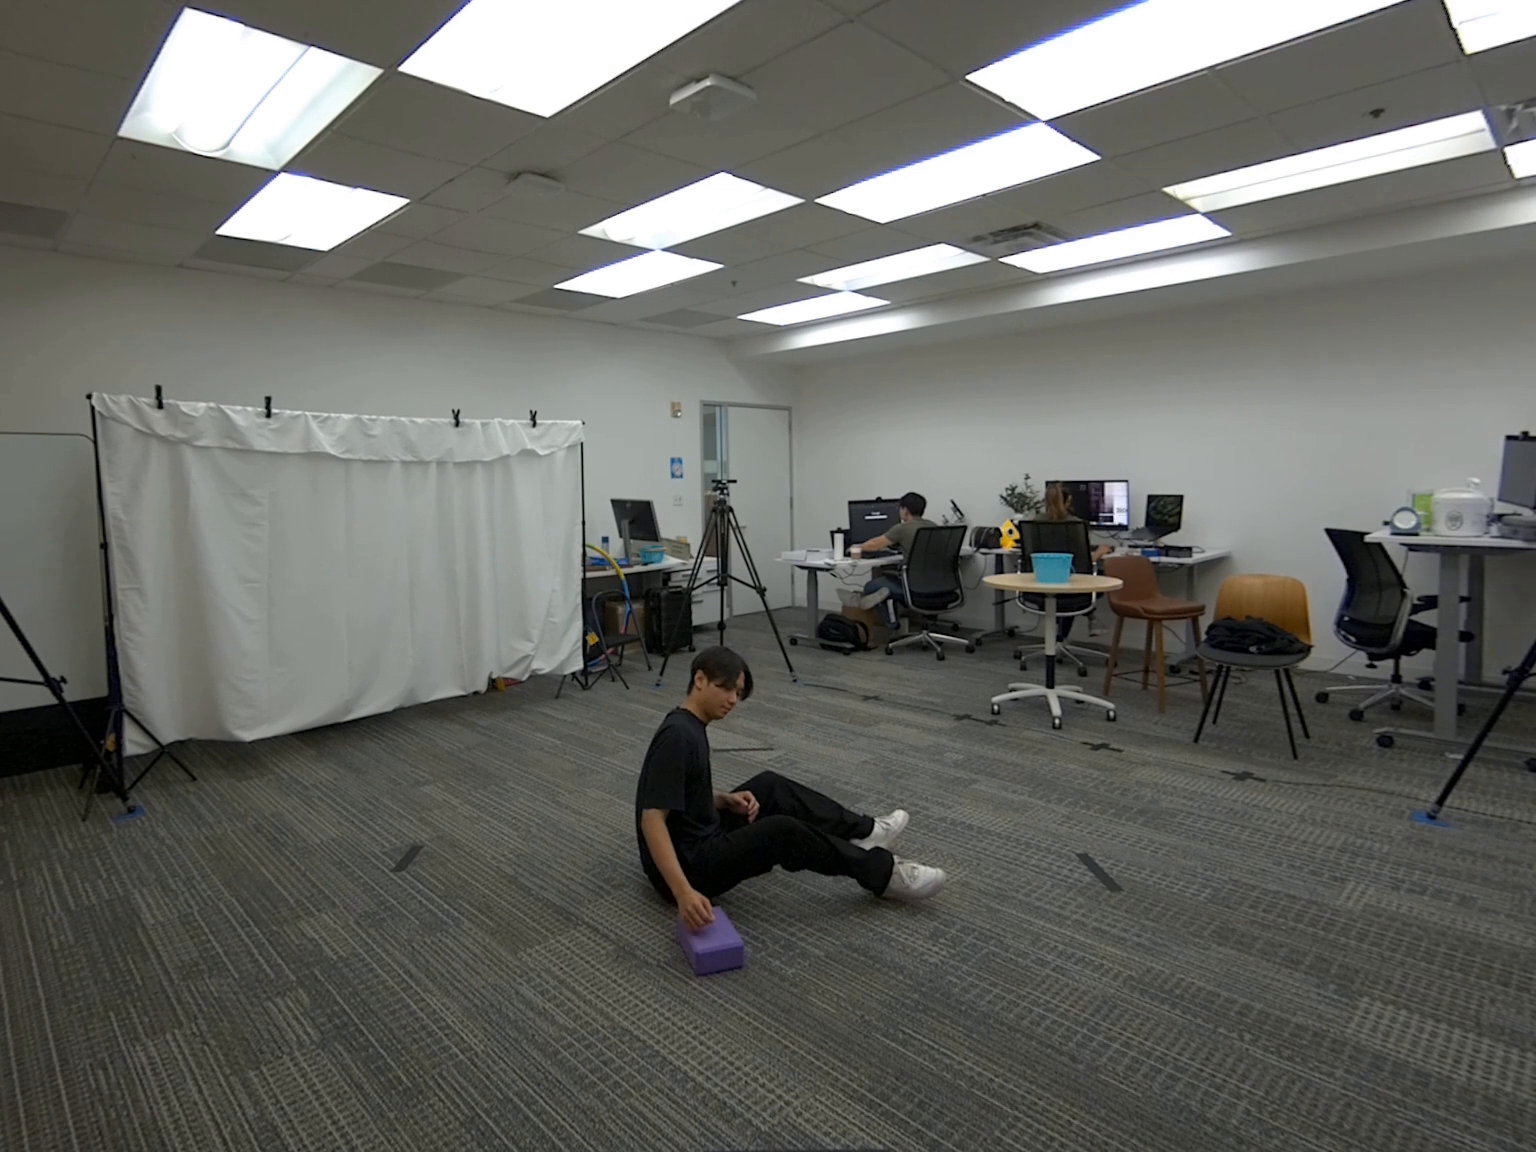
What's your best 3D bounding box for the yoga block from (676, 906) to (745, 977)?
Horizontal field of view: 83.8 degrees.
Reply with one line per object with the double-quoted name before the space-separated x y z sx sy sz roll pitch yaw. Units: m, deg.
"yoga block" -0.175 1.082 2.532 0.146 0.076 0.234 -3 7 -20
